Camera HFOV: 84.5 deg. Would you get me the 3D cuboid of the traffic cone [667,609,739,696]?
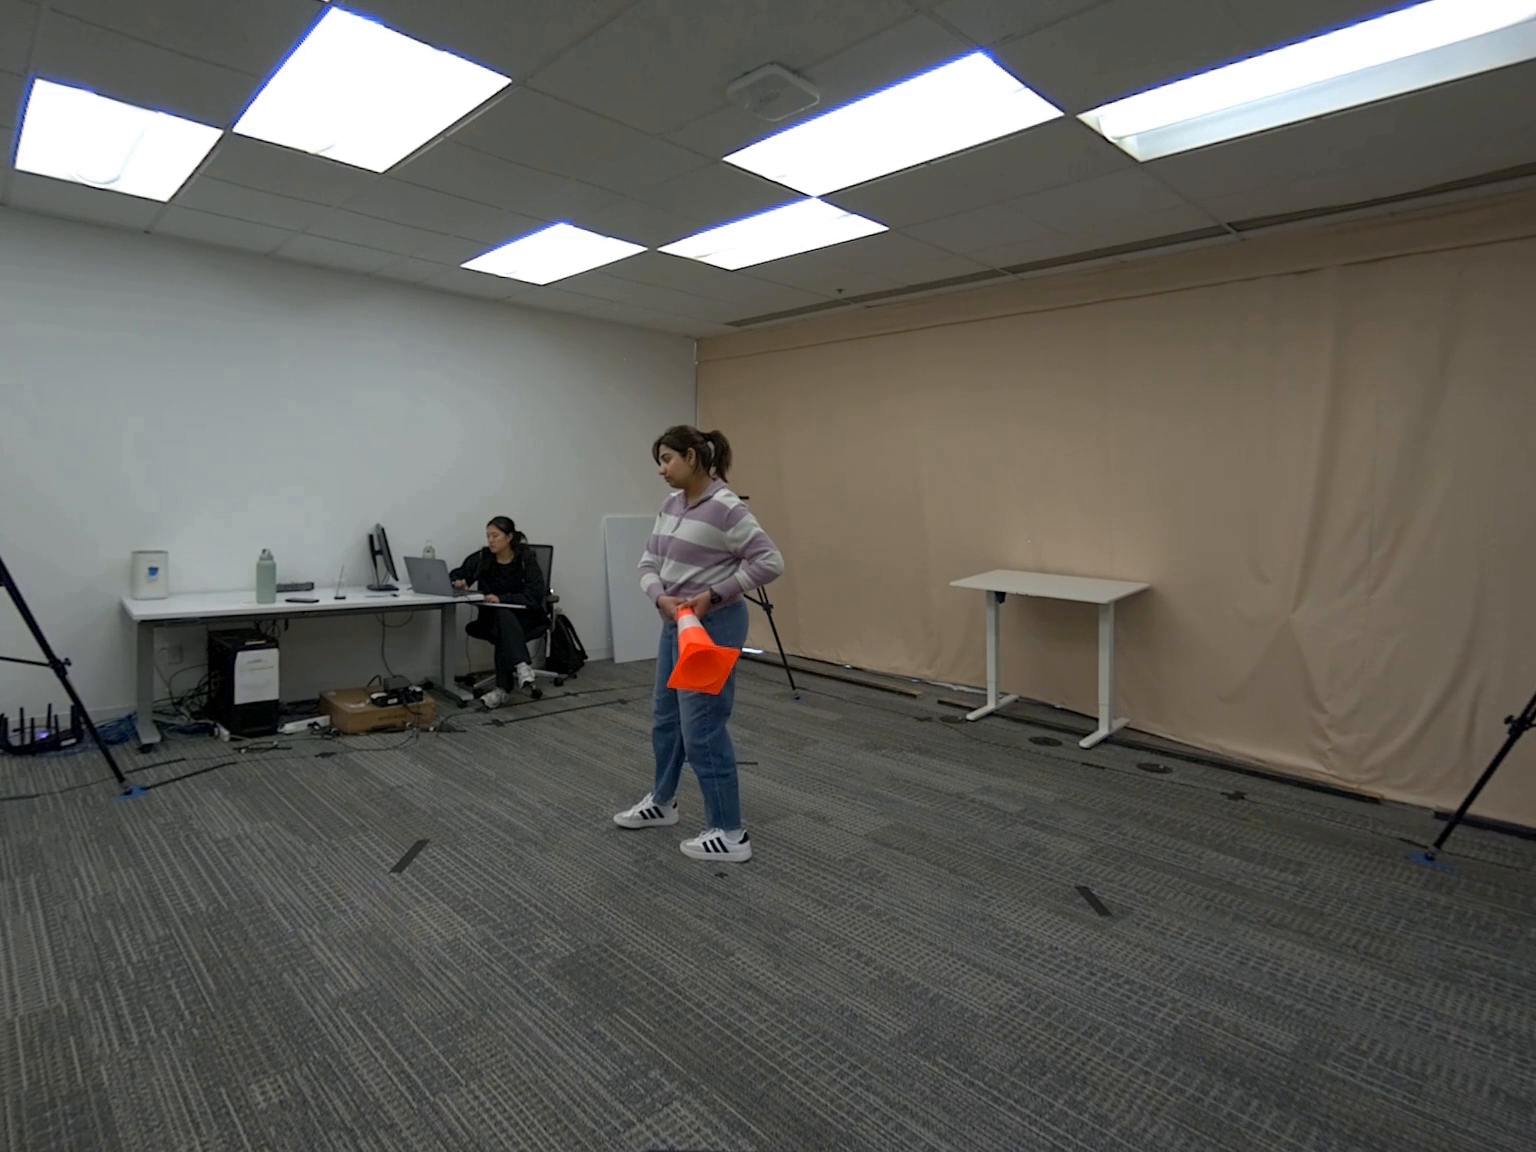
[{"bbox_3d":[-0.284,0.207,2.971,0.202,0.201,0.393,11,30,-17],"label":"traffic cone"}]
